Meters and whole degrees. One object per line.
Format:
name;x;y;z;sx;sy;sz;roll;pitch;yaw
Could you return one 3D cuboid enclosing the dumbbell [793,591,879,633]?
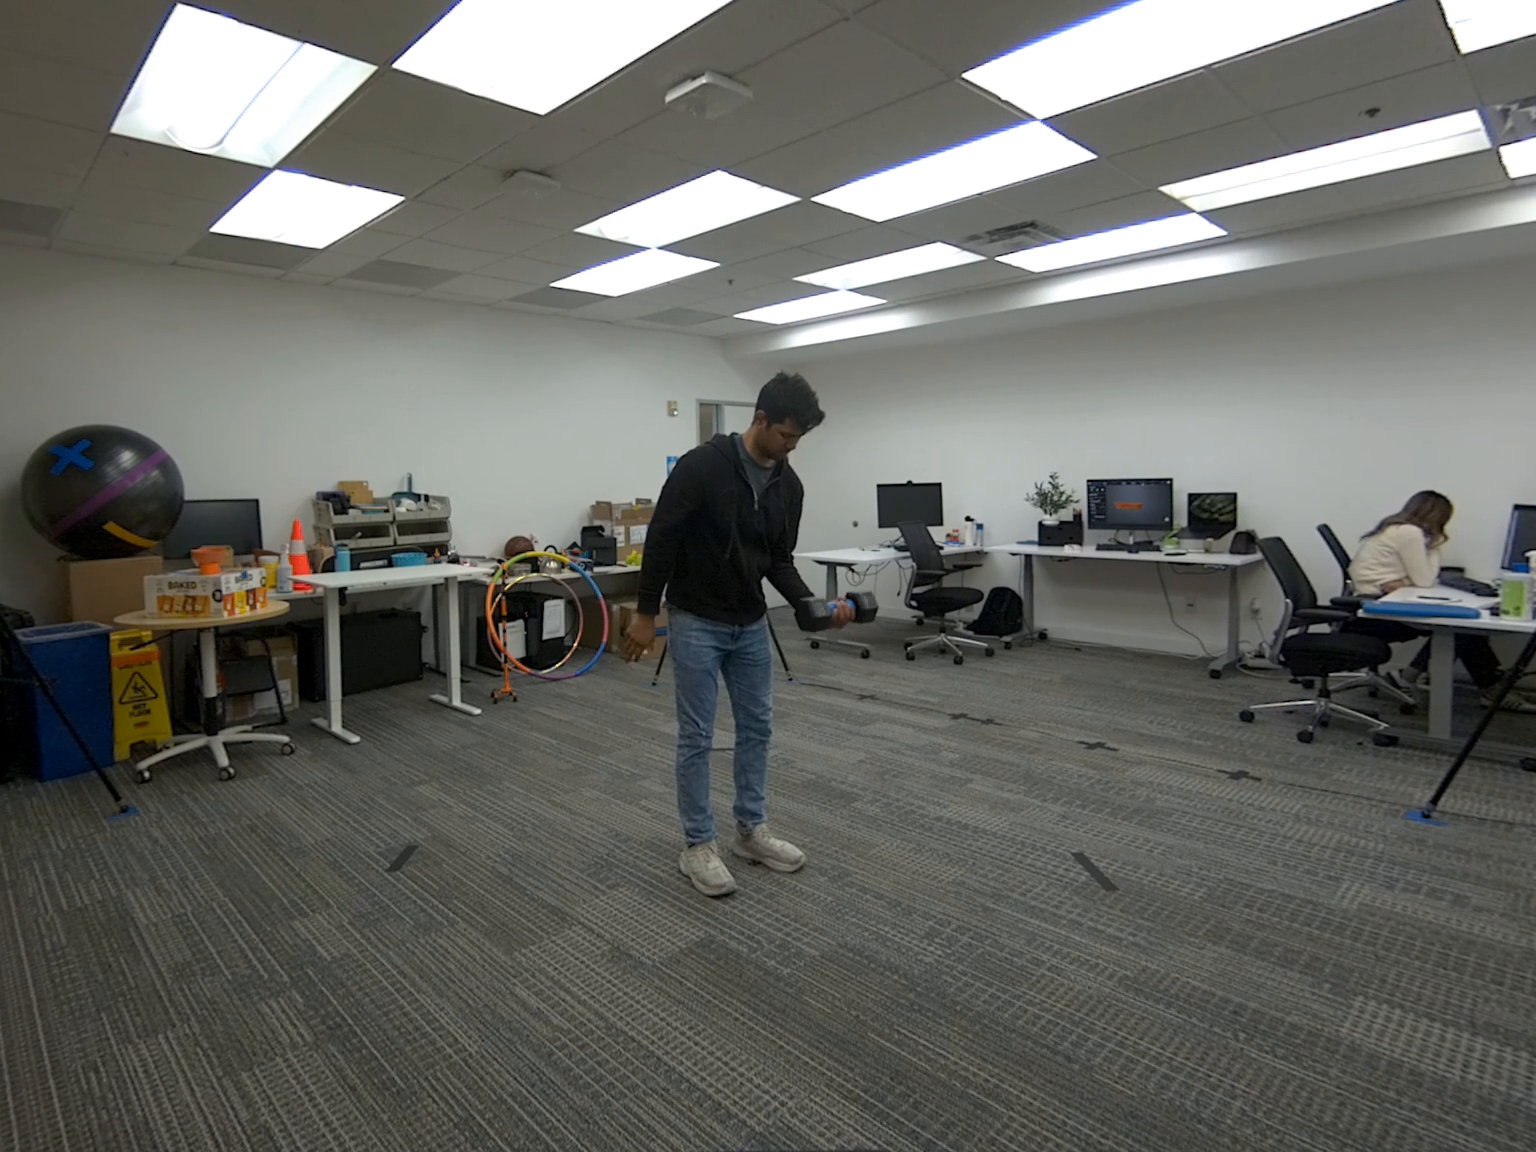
dumbbell;0.223;0.102;2.882;0.287;0.108;0.126;-8;8;-34
